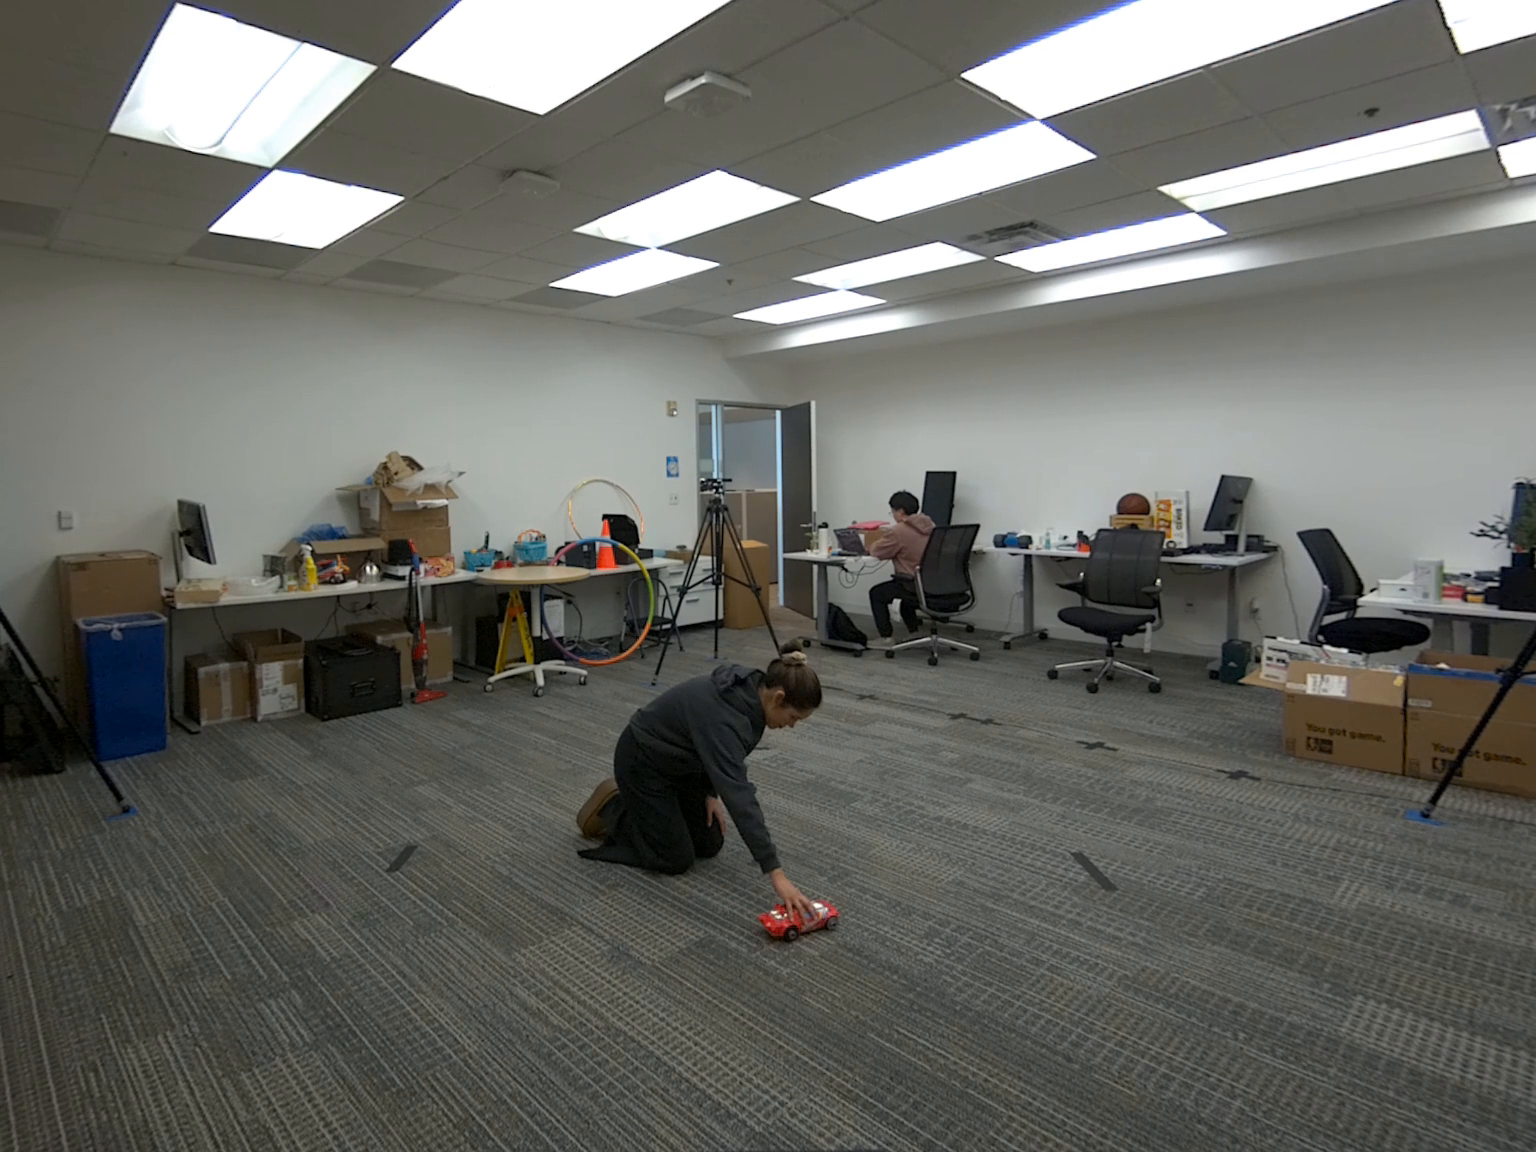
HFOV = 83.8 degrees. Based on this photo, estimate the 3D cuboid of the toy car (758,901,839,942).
[{"bbox_3d":[0.088,1.064,2.636,0.248,0.083,0.133,8,1,-25],"label":"toy car"}]
